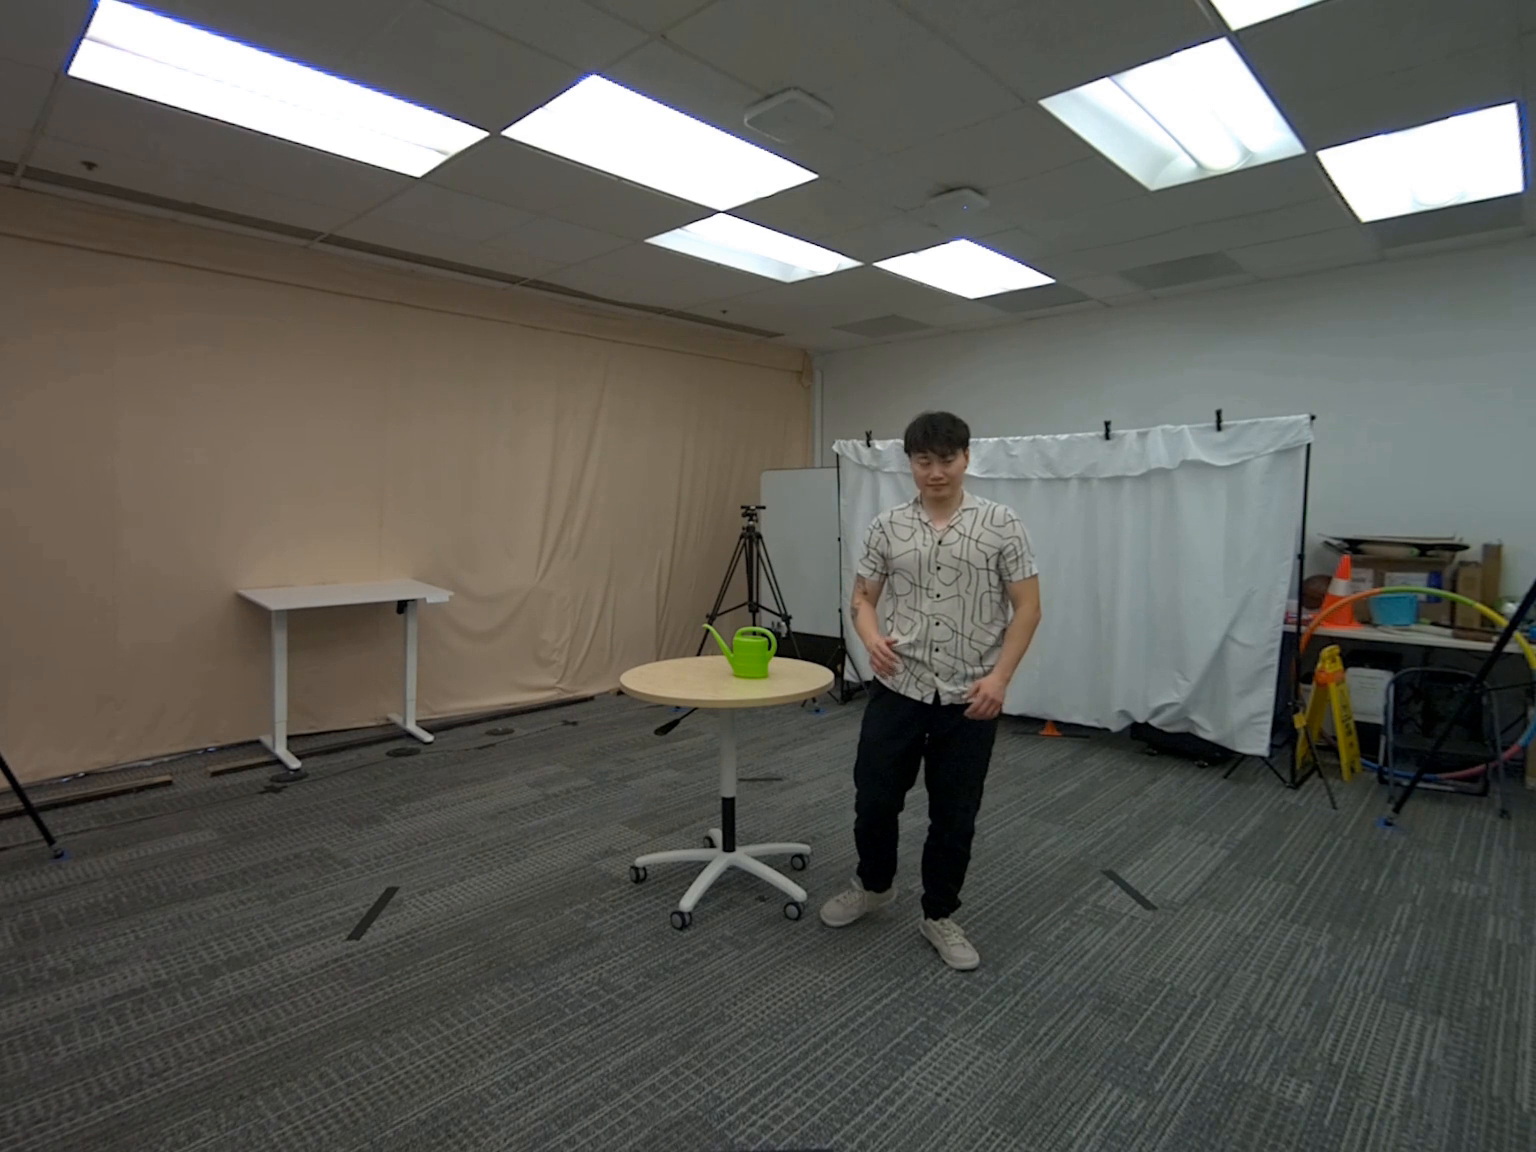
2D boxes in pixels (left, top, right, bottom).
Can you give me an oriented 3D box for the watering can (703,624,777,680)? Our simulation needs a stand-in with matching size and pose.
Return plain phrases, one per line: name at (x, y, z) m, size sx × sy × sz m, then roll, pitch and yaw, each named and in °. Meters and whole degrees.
watering can at (-0.097, 0.269, 3.022) m, size 0.286 × 0.176 × 0.095 m, roll 3°, pitch 3°, yaw 31°
